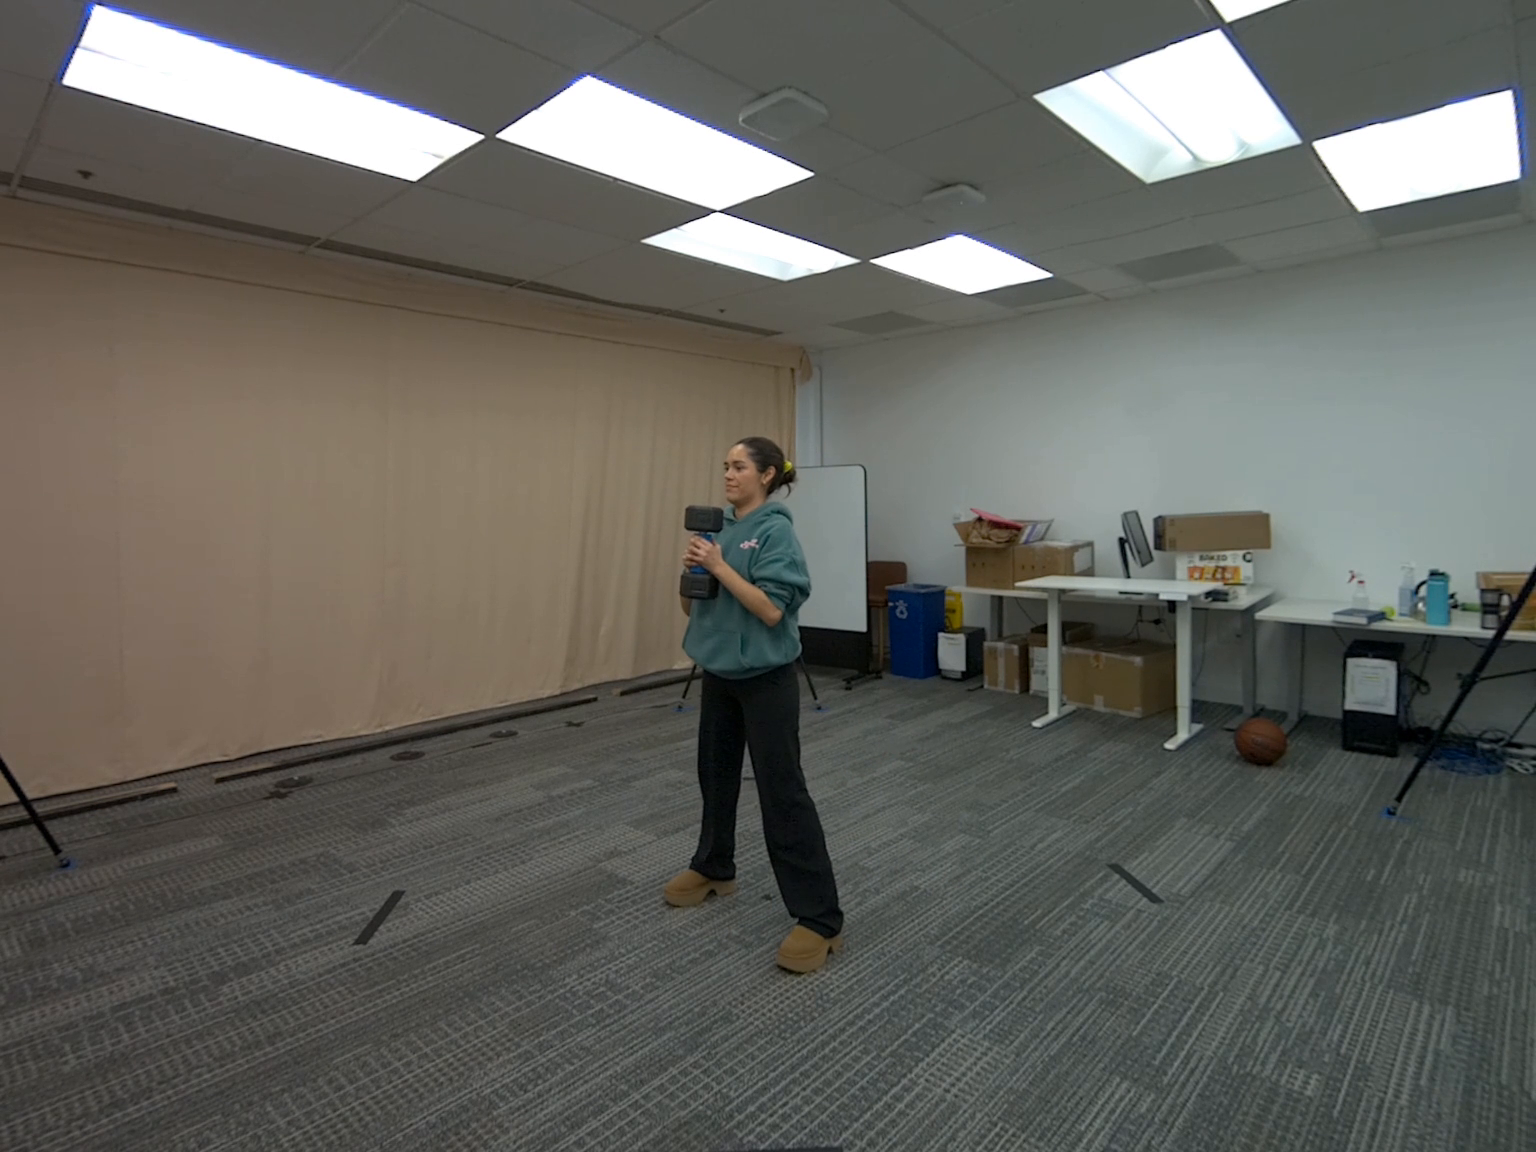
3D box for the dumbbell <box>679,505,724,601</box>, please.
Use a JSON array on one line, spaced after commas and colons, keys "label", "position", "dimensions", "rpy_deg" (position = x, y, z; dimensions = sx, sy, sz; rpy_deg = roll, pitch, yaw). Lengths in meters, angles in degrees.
[{"label": "dumbbell", "position": [-0.207, -0.072, 2.678], "dimensions": [0.123, 0.294, 0.109], "rpy_deg": [3, -1, -1]}]
